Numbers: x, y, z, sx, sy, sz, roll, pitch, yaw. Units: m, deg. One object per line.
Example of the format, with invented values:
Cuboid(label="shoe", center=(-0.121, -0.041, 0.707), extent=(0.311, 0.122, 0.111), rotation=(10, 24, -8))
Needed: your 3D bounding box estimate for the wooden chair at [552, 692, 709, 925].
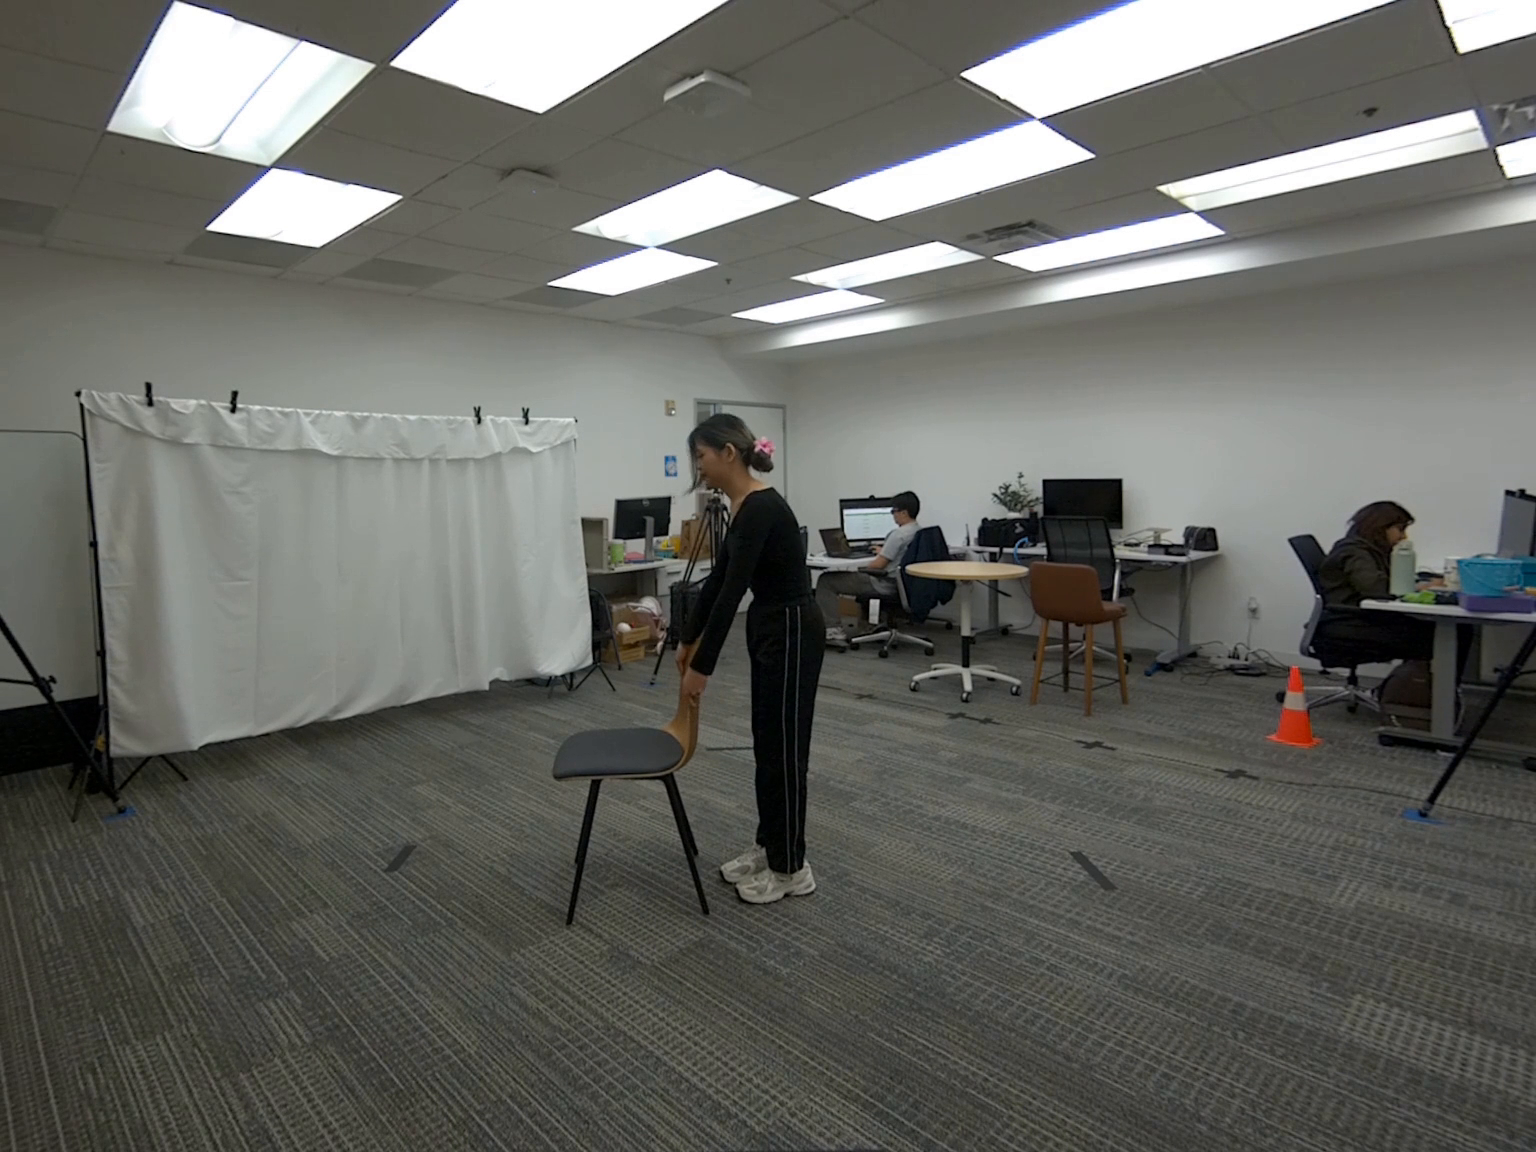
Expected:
Cuboid(label="wooden chair", center=(-0.462, 0.645, 2.899), extent=(0.519, 0.874, 0.483), rotation=(2, 5, -8))
